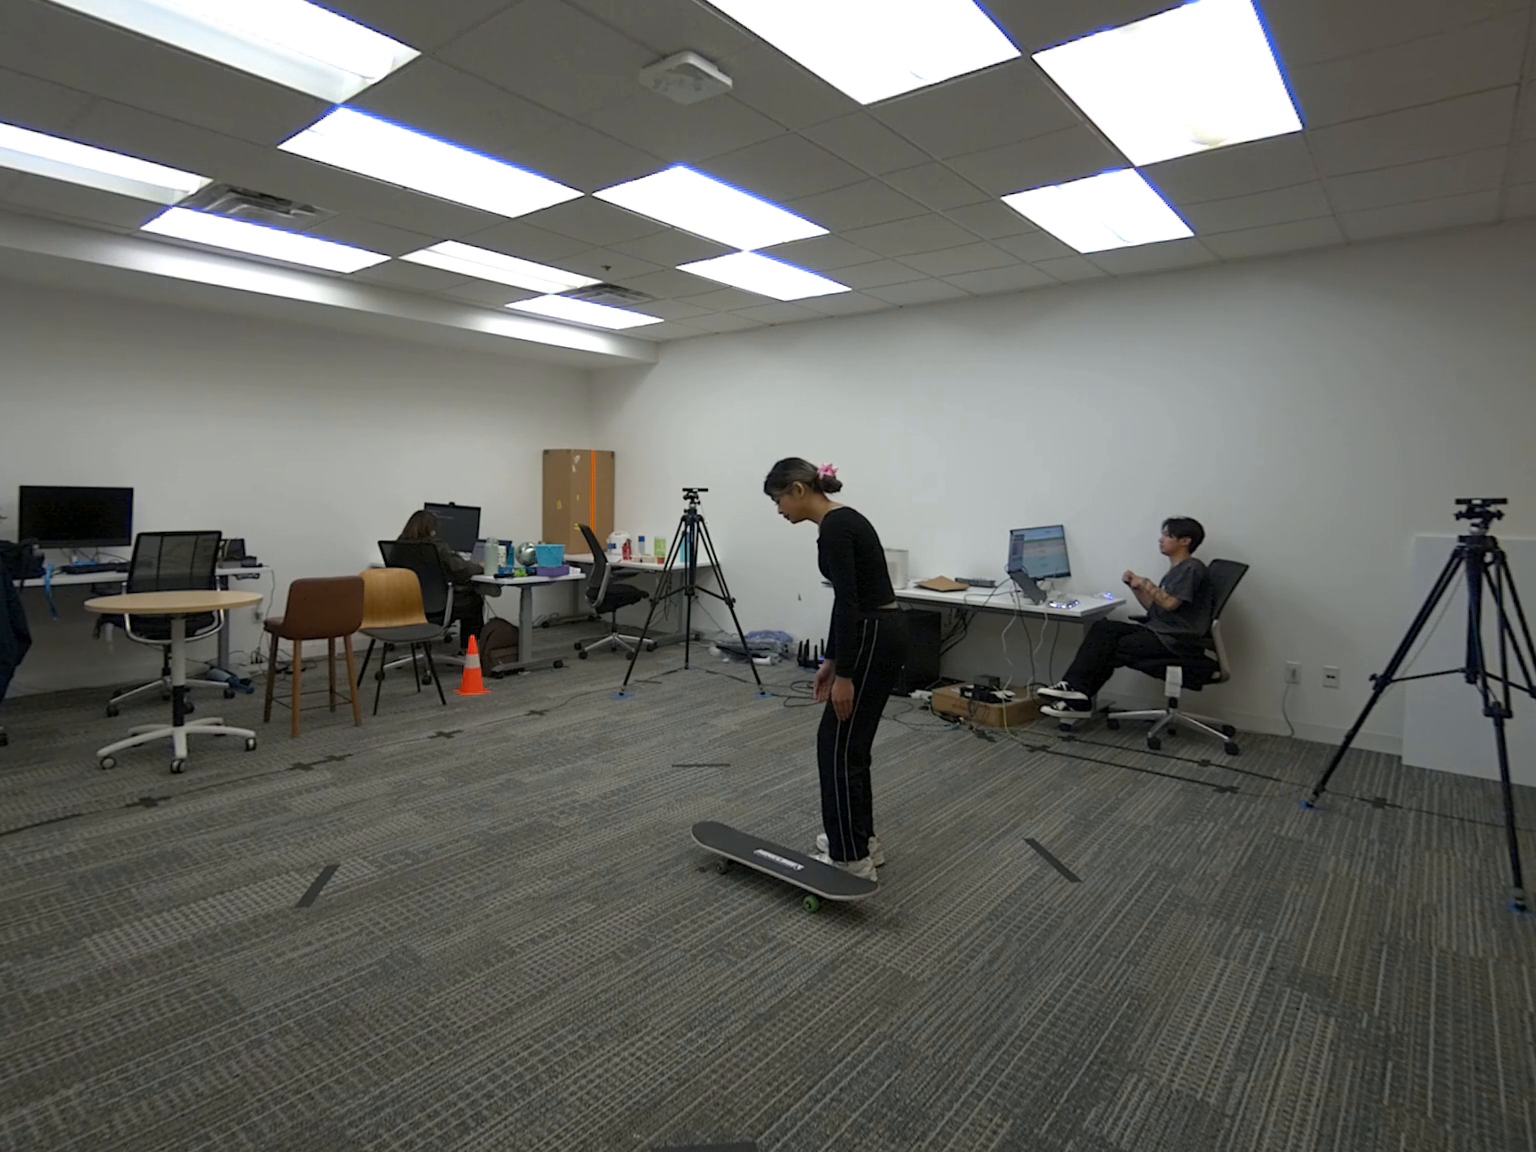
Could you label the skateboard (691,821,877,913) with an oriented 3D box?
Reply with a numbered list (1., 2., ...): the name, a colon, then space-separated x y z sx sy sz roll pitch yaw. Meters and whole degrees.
1. skateboard: 0.029 1.029 2.998 0.812 0.110 0.188 6 8 40
